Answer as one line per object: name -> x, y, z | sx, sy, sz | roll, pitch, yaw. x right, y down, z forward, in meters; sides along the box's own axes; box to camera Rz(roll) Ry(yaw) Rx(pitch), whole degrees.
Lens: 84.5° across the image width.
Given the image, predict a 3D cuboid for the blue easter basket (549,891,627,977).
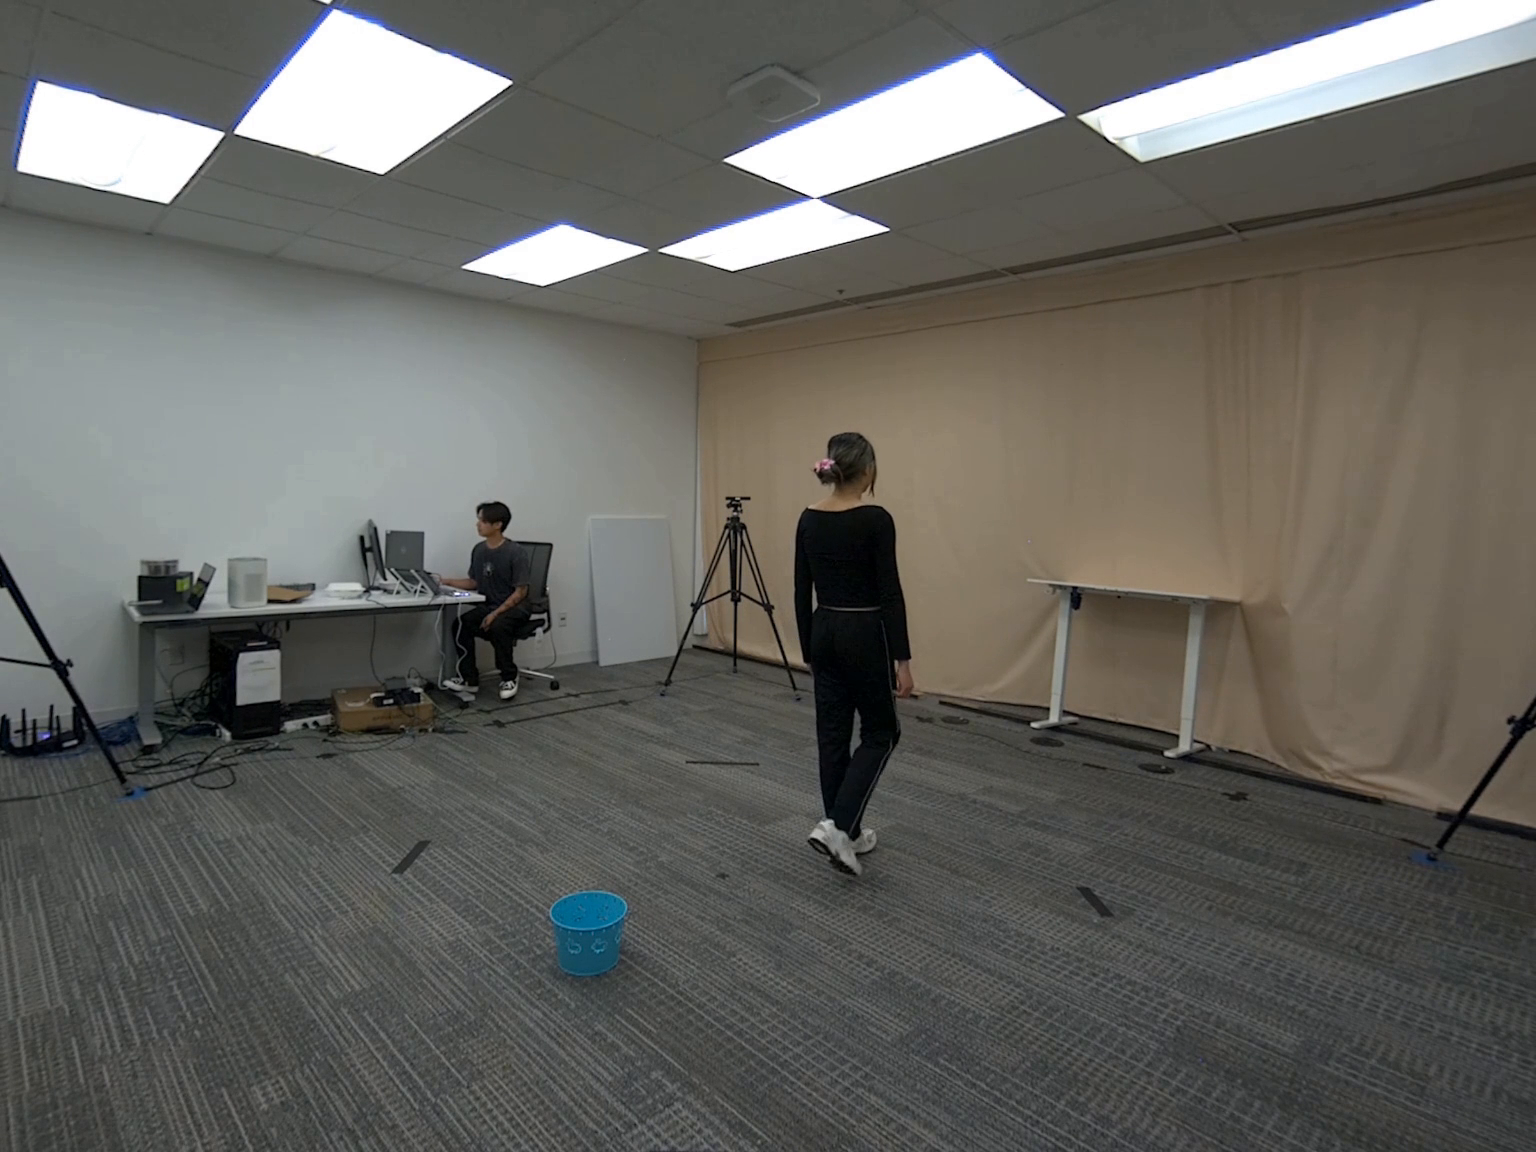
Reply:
blue easter basket -> -0.548, 1.071, 2.526 | 0.243, 0.155, 0.244 | 0, 5, -1
